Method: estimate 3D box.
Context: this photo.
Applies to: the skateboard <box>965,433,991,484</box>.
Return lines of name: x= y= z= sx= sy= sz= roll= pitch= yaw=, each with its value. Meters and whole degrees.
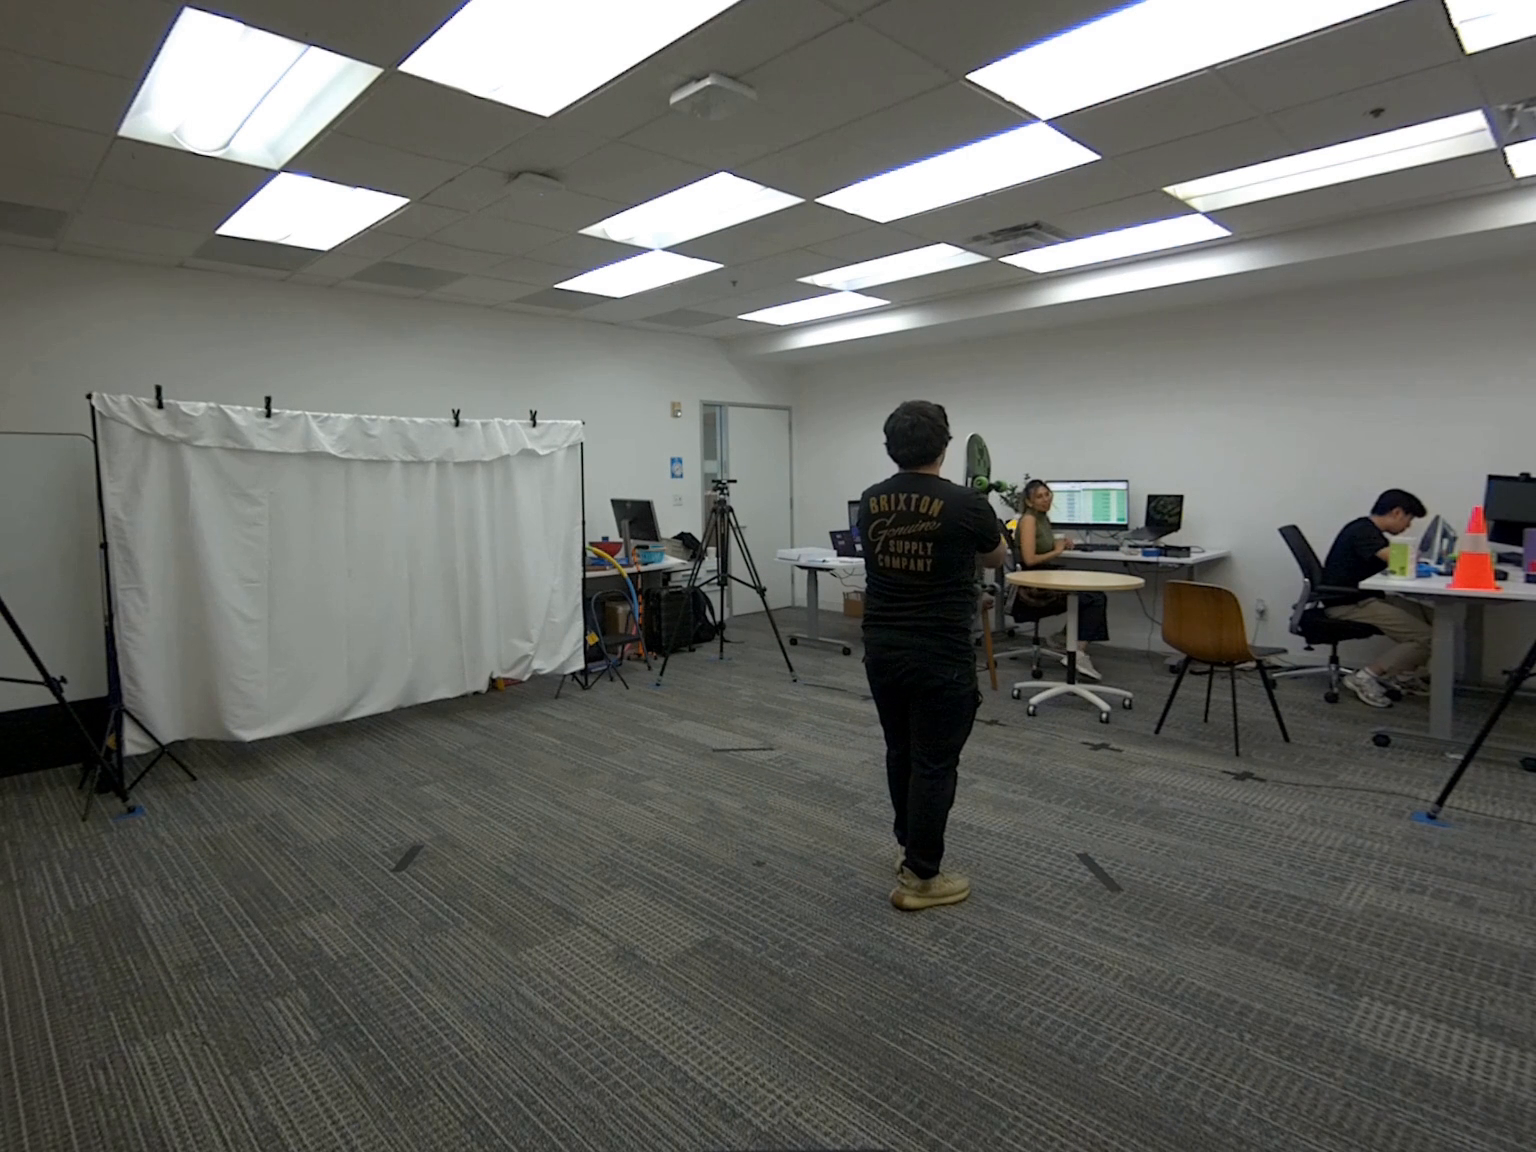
skateboard: x=0.806 y=-0.145 z=3.240 sx=0.188 sy=0.785 sz=0.114 roll=2 pitch=1 yaw=-45
